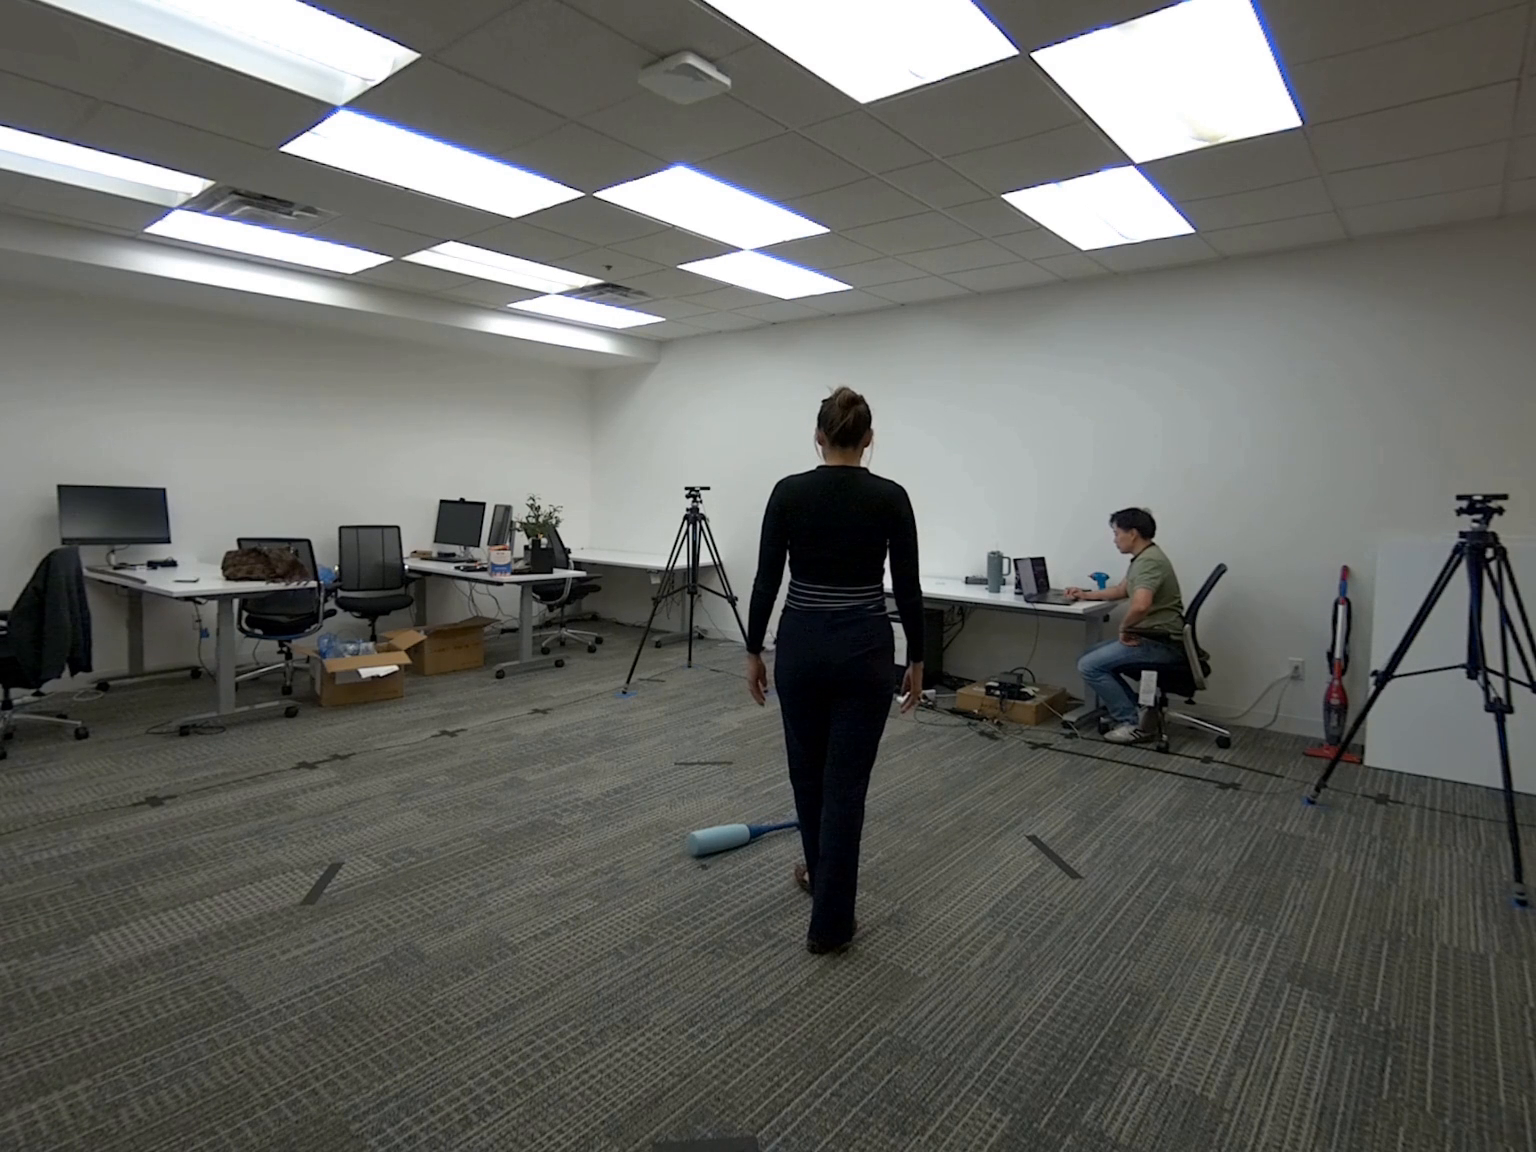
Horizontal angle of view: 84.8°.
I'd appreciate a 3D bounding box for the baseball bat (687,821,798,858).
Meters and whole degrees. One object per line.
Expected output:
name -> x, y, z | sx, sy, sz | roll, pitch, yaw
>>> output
baseball bat -> -0.087, 1.008, 3.339 | 0.527, 0.089, 0.092 | 1, 3, -34
